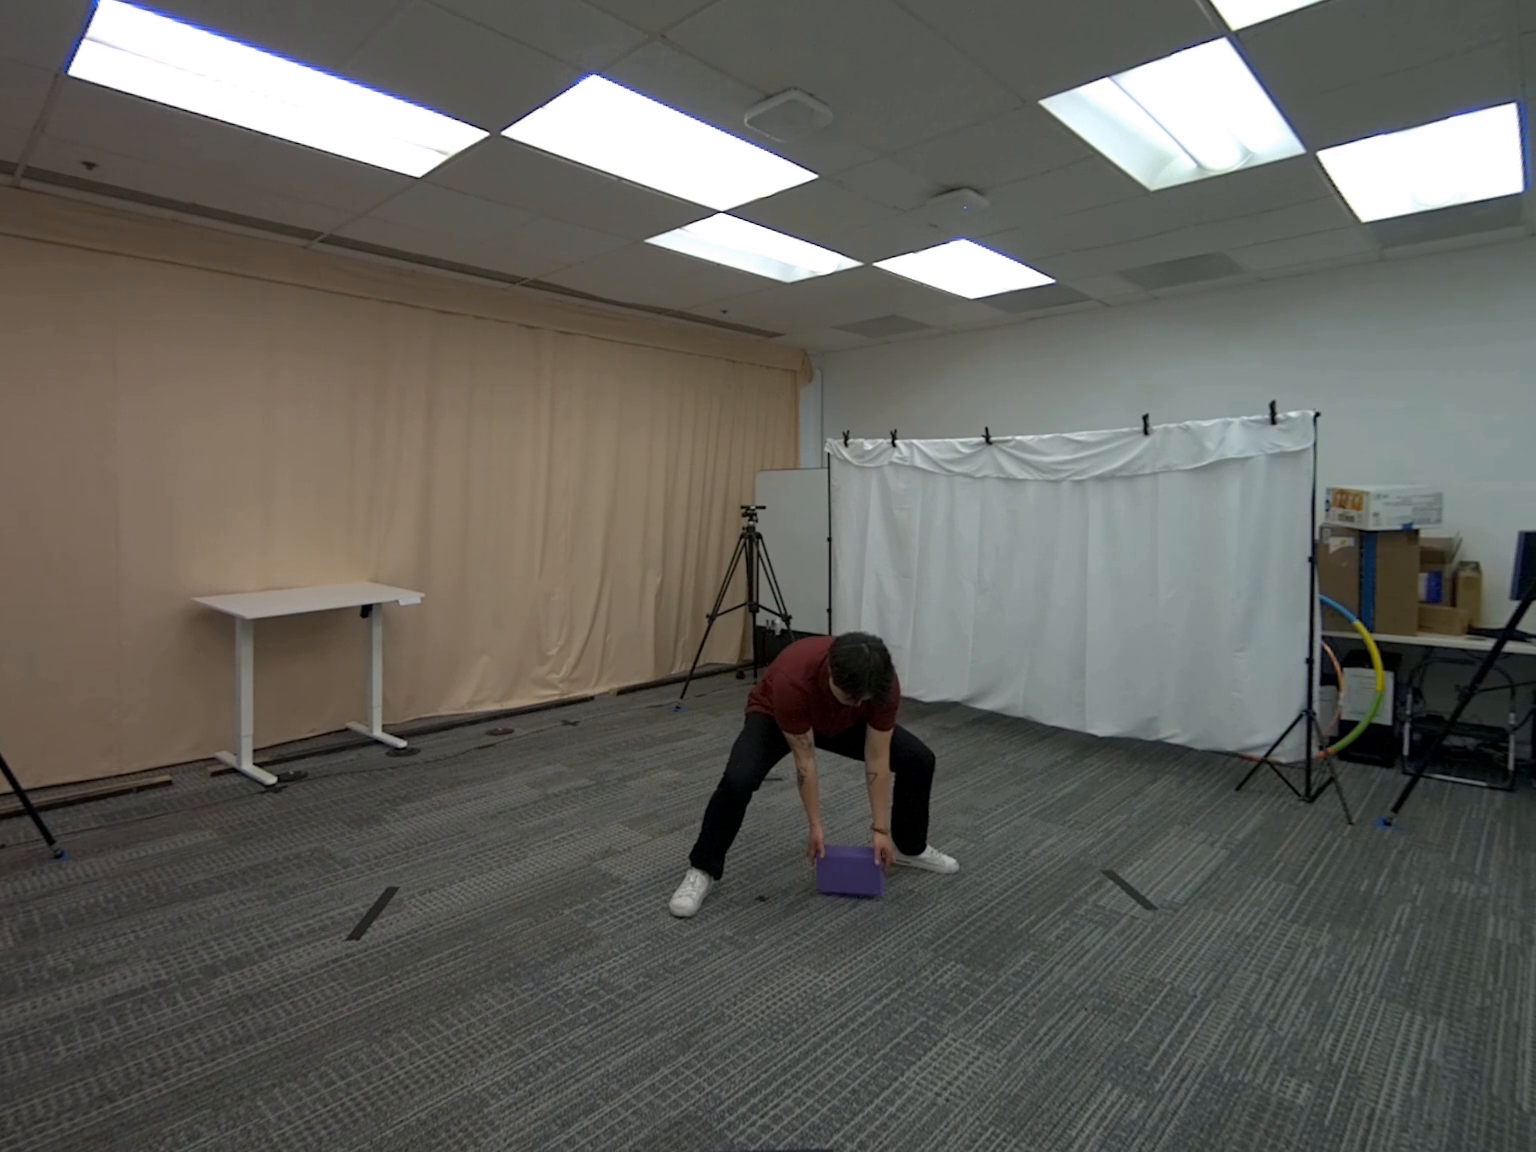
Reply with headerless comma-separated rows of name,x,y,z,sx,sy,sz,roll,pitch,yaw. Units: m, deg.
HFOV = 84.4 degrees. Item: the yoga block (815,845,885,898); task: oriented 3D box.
yoga block,0.293,1.049,2.990,0.232,0.148,0.076,-1,8,12
